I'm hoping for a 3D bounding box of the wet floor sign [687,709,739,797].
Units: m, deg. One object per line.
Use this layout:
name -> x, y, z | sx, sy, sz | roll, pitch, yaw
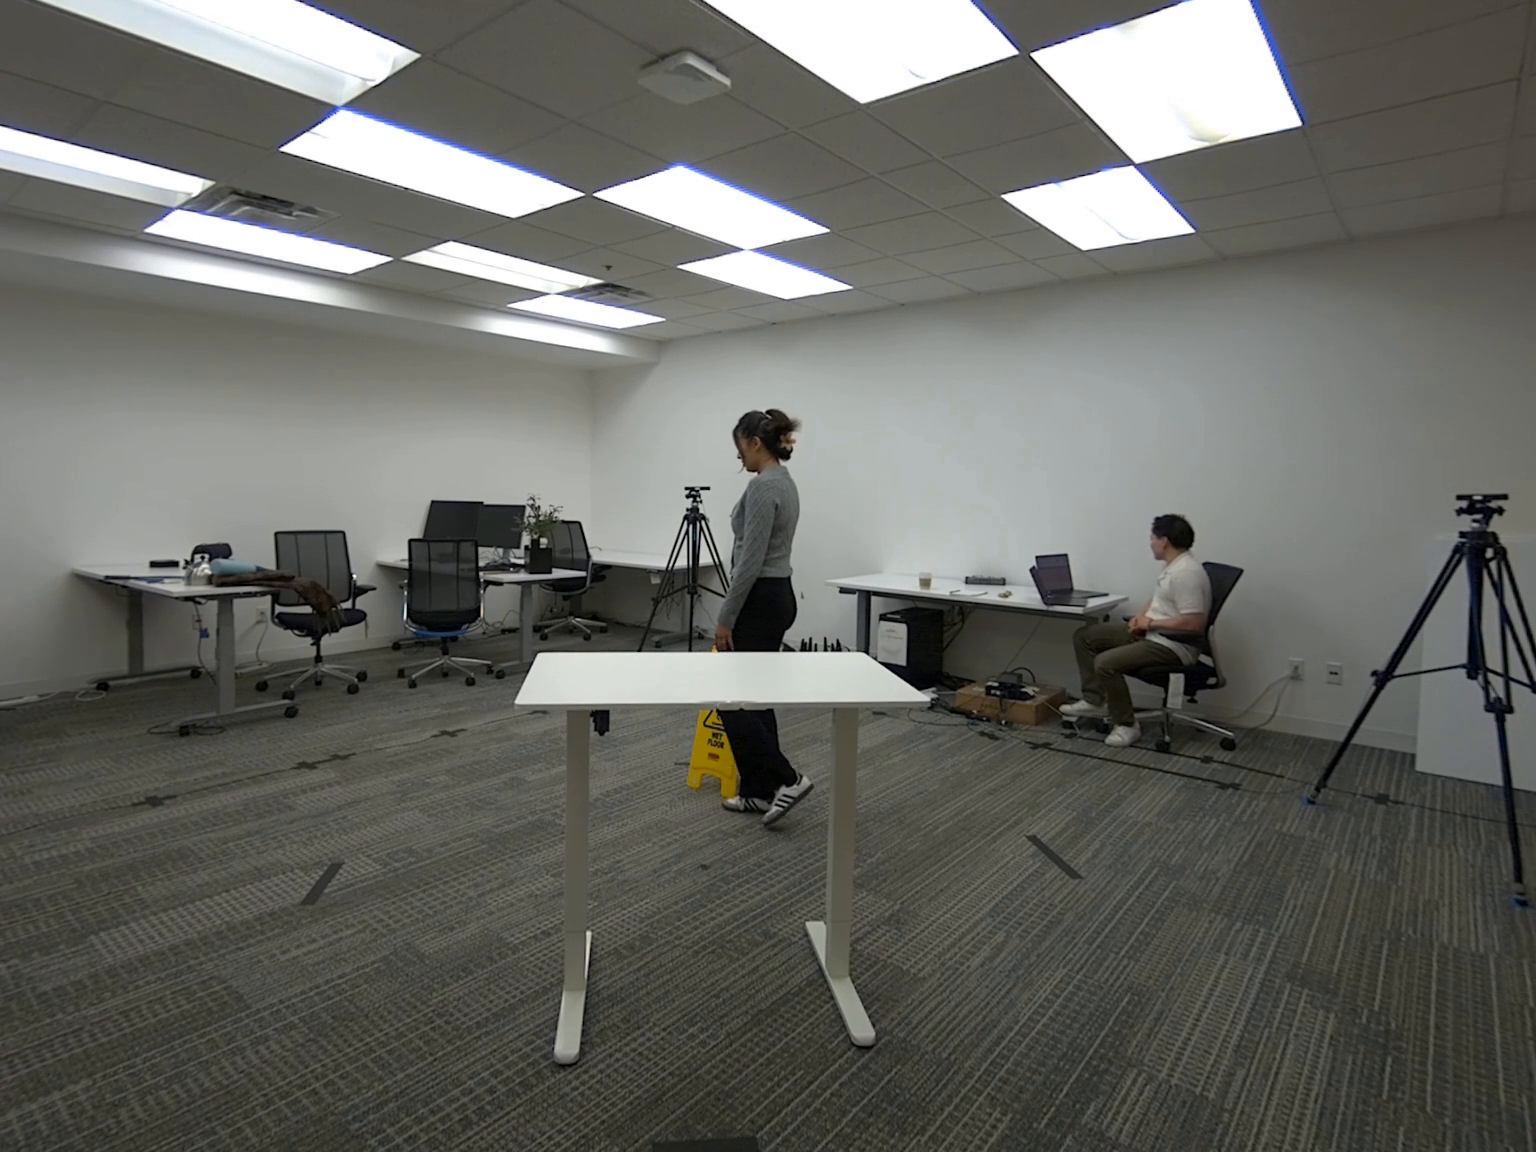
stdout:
wet floor sign -> -0.190, 0.654, 3.991 | 0.291, 0.644, 0.281 | 4, 4, 36
